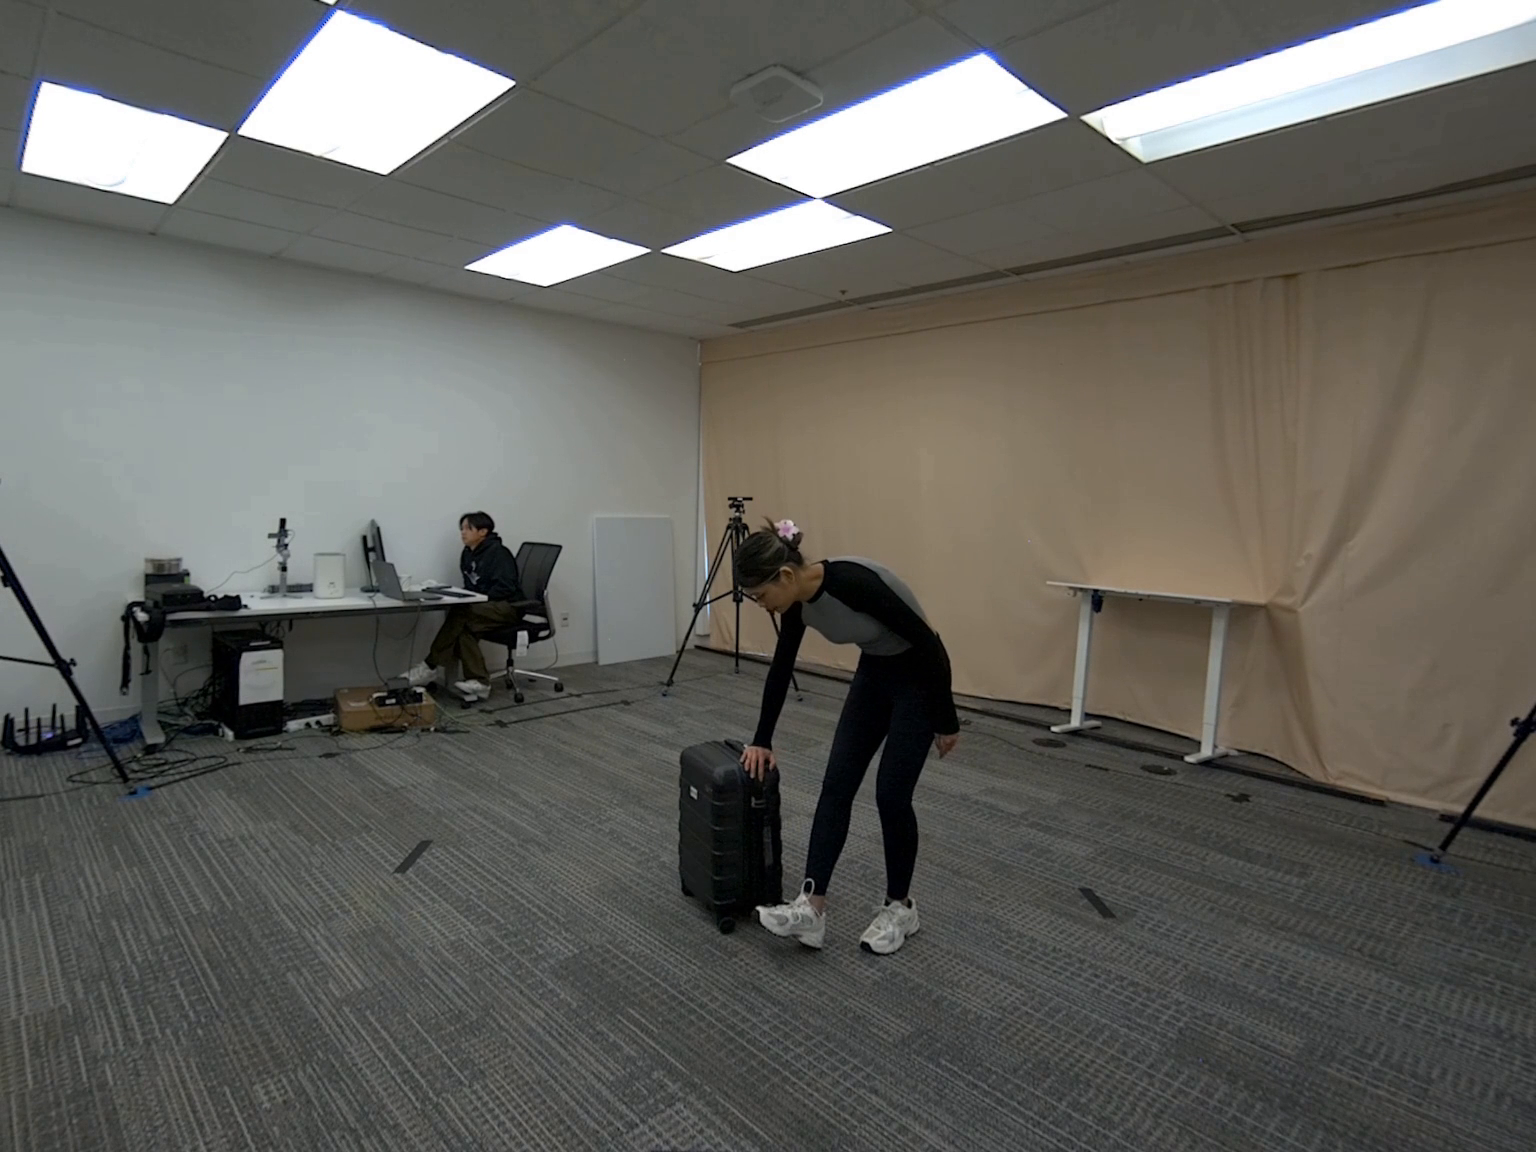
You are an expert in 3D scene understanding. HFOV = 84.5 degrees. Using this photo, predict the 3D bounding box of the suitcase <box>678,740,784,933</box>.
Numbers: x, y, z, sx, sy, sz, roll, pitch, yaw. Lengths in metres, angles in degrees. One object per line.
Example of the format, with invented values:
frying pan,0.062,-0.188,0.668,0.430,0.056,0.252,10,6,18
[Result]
suitcase,-0.140,0.855,2.861,0.244,0.547,0.384,-3,6,-27
